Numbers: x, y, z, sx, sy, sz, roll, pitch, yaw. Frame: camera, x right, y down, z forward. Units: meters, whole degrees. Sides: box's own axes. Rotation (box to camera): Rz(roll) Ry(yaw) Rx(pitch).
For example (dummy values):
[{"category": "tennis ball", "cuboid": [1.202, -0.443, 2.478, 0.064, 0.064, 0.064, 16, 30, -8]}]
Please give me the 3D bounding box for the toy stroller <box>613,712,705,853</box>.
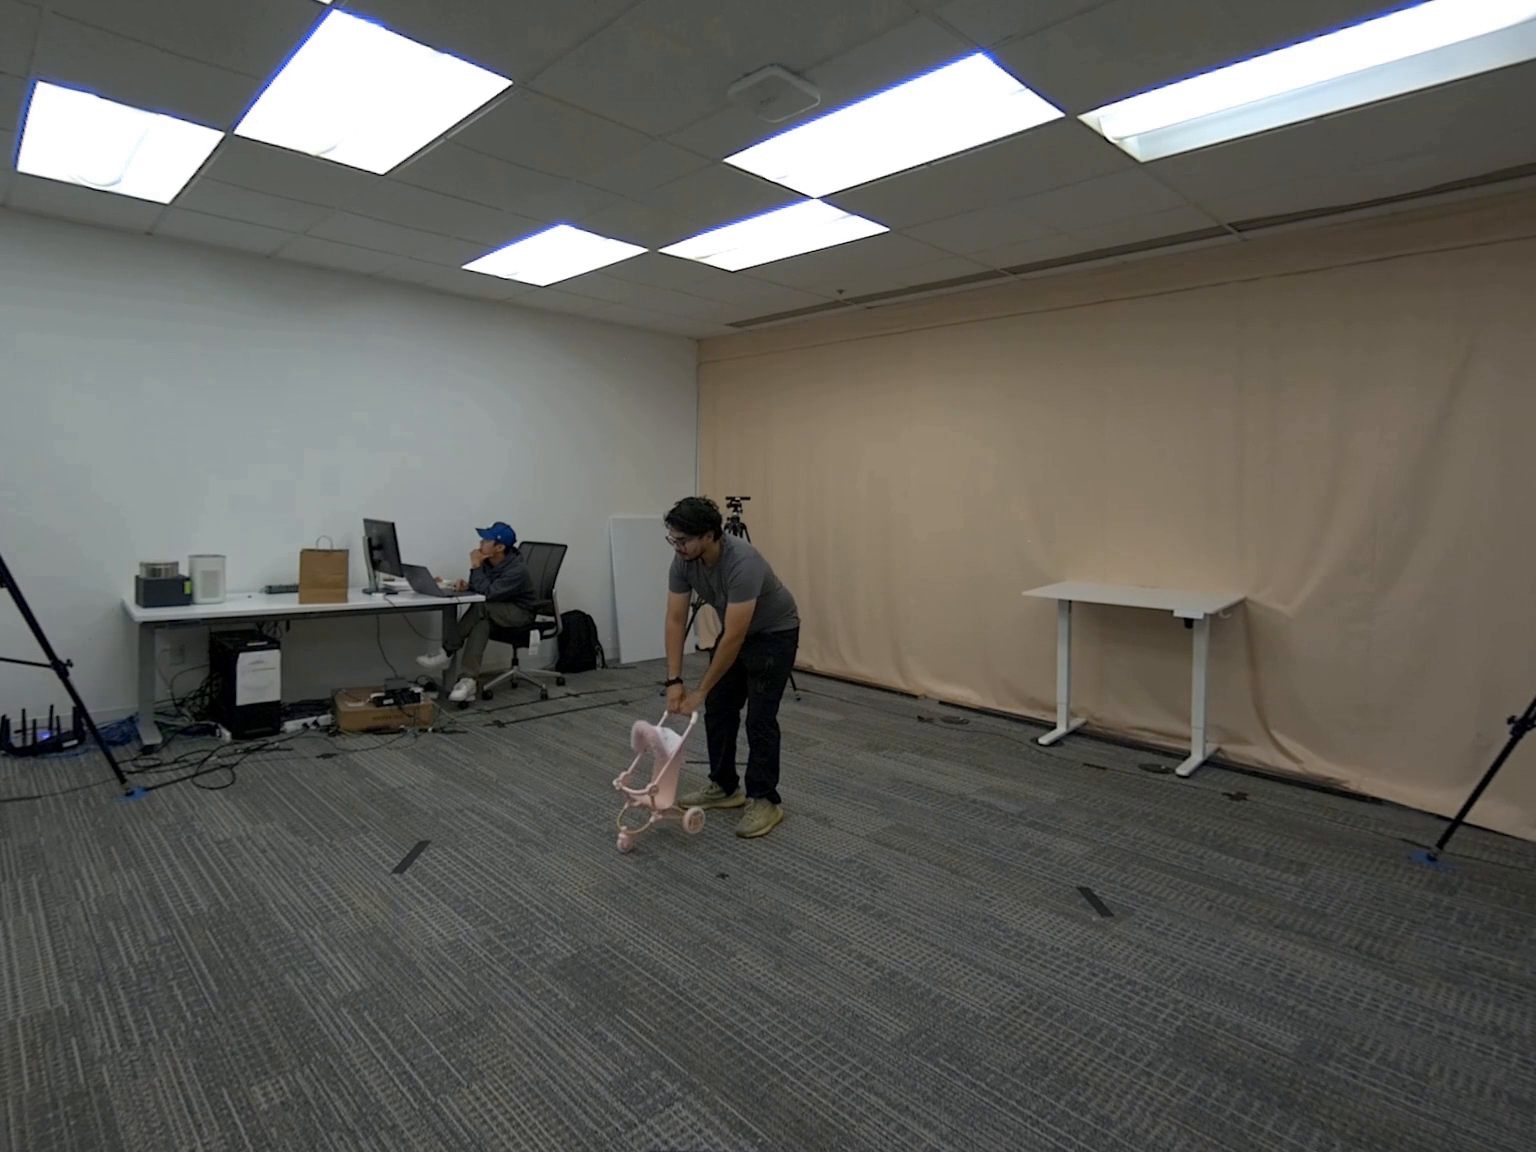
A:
[{"category": "toy stroller", "cuboid": [-0.464, 0.807, 3.367, 0.333, 0.534, 0.288, 0, 2, -37]}]
